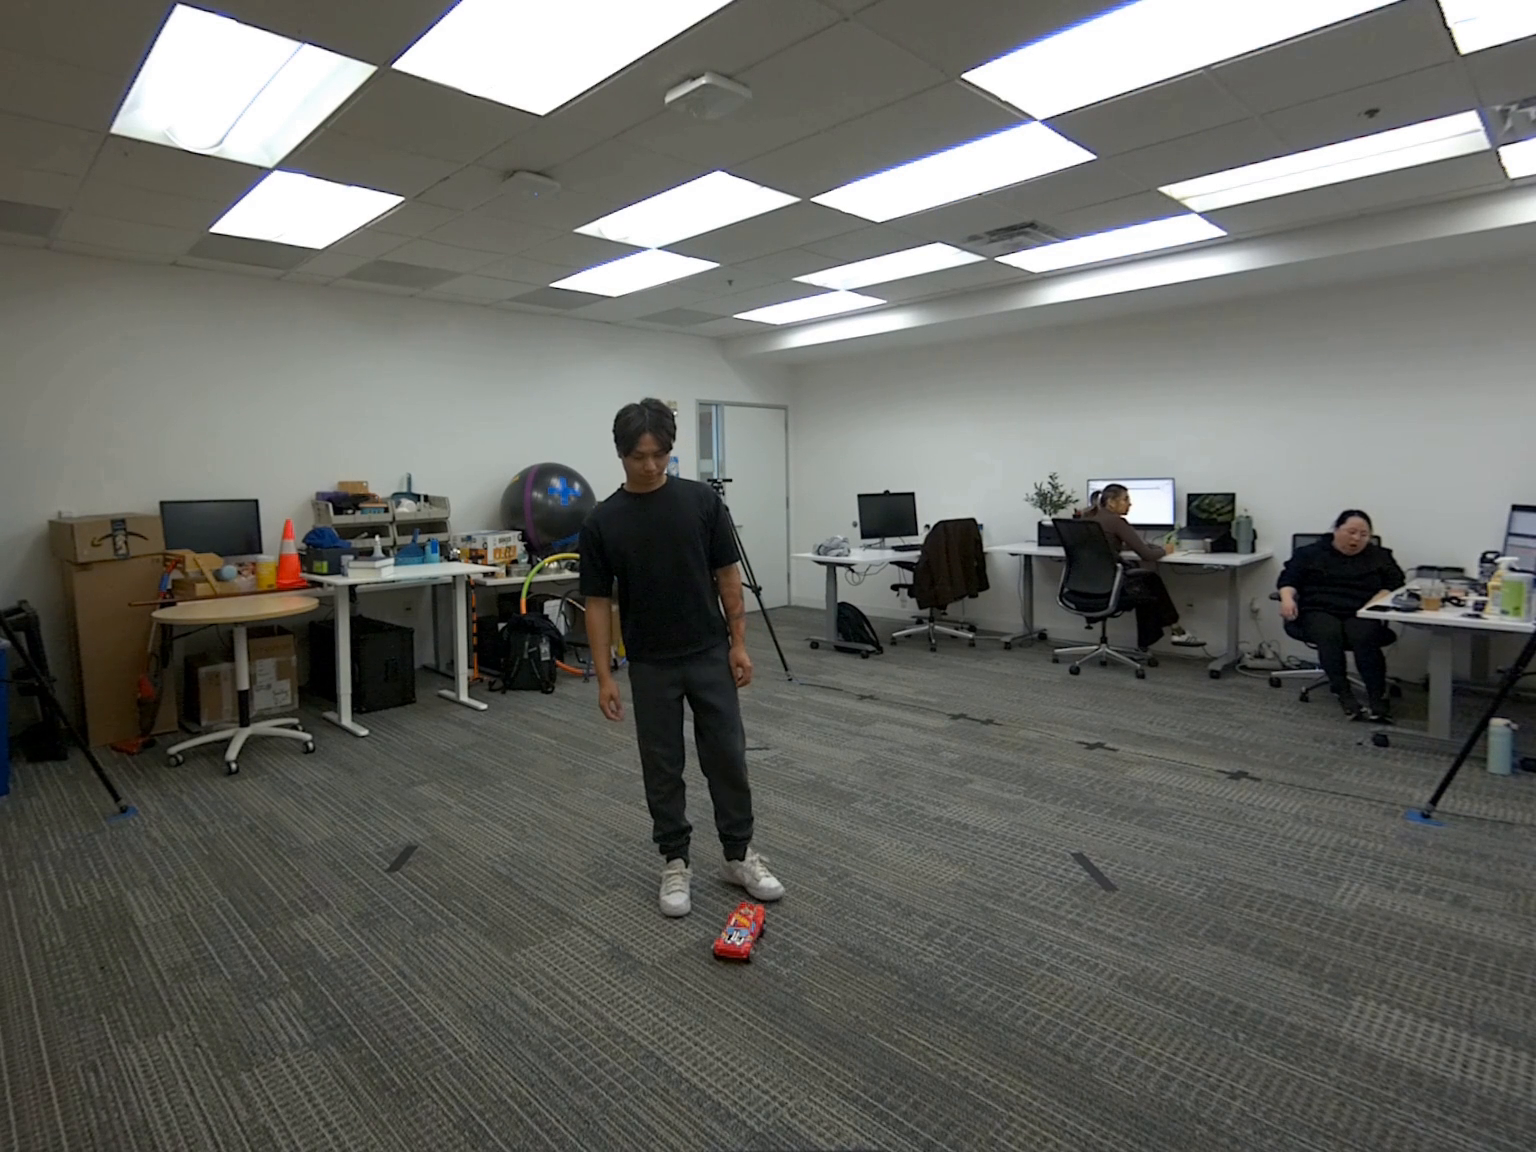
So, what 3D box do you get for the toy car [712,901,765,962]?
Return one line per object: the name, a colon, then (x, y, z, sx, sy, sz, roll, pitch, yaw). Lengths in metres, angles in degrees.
toy car: (-0.078, 1.080, 2.580, 0.132, 0.082, 0.254, 0, 17, 15)
